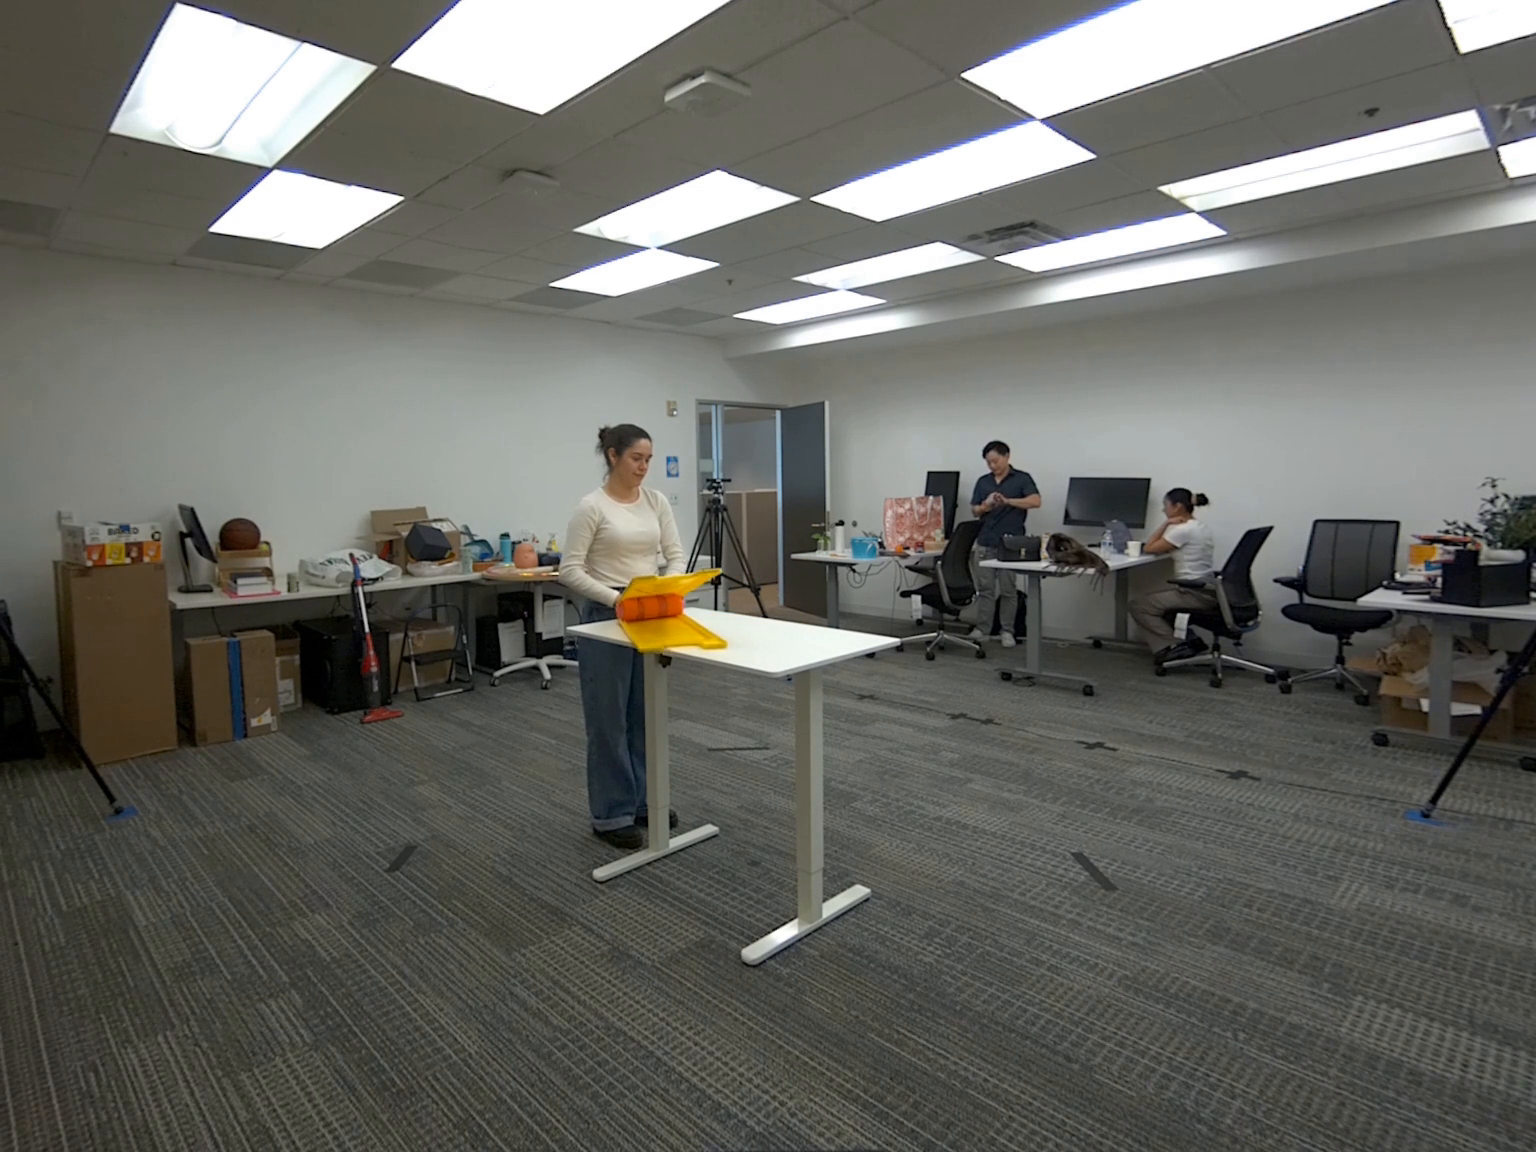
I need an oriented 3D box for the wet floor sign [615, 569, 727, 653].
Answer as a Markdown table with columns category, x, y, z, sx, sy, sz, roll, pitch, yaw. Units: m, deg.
| category | x | y | z | sx | sy | sz | roll | pitch | yaw |
| --- | --- | --- | --- | --- | --- | --- | --- | --- | --- |
| wet floor sign | -0.356 | 0.122 | 2.900 | 0.278 | 0.290 | 0.655 | -5 | 1 | -18 |
